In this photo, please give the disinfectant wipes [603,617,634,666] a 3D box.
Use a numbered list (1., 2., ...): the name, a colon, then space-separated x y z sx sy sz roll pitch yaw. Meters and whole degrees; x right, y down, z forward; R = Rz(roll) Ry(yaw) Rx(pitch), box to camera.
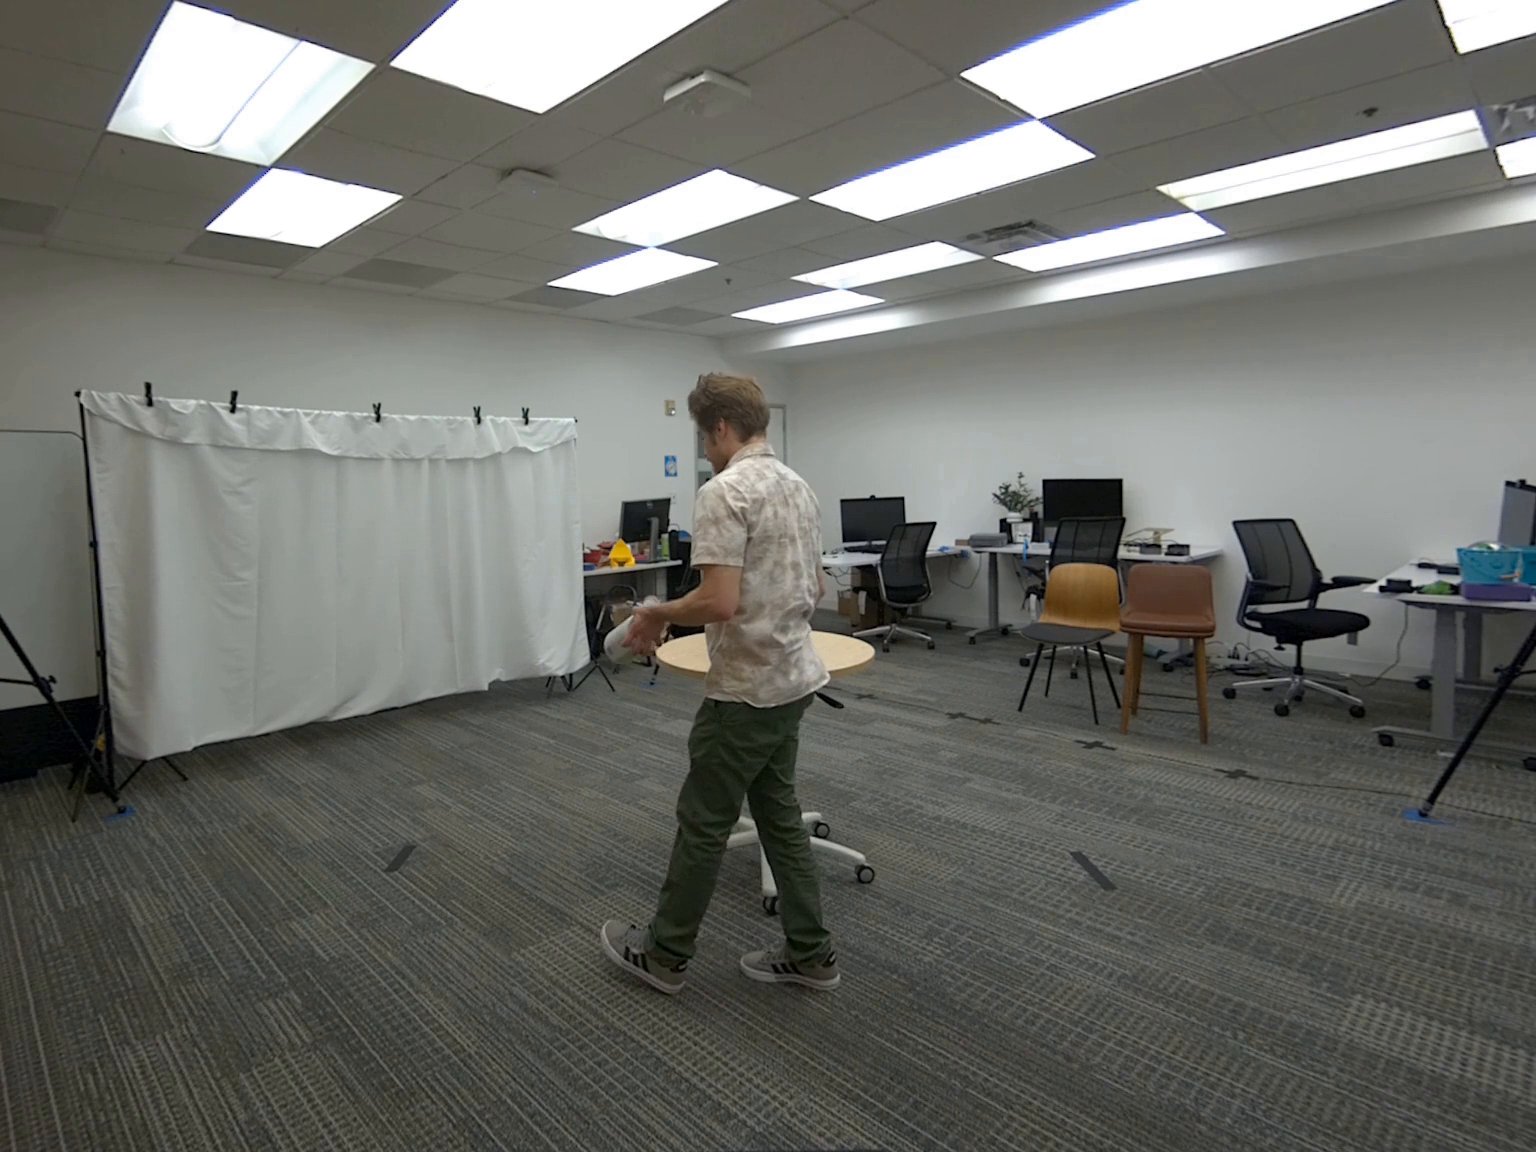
1. disinfectant wipes: -0.395 0.179 2.465 0.115 0.119 0.219 -3 -15 -26
